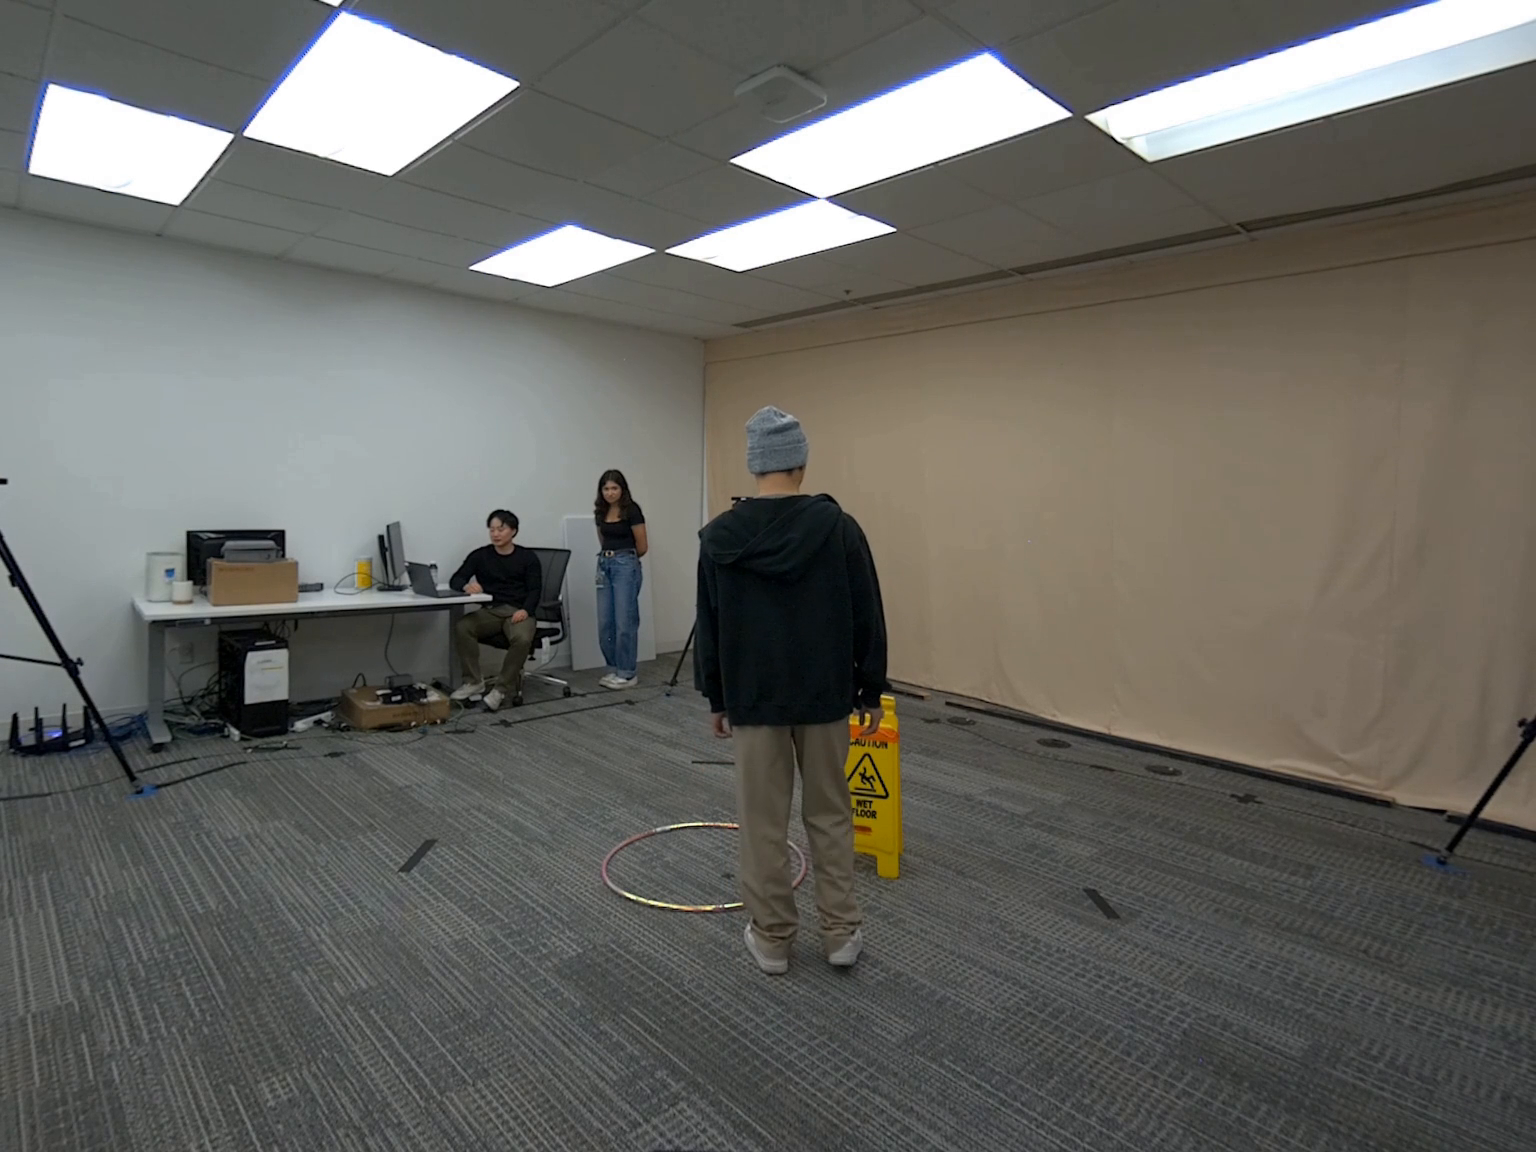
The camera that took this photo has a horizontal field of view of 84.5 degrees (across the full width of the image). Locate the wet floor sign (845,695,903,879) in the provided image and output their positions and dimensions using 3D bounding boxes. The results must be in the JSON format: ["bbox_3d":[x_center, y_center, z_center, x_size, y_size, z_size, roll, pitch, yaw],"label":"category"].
[{"bbox_3d":[0.373,0.784,3.250,0.285,0.645,0.287,2,3,14],"label":"wet floor sign"}]
